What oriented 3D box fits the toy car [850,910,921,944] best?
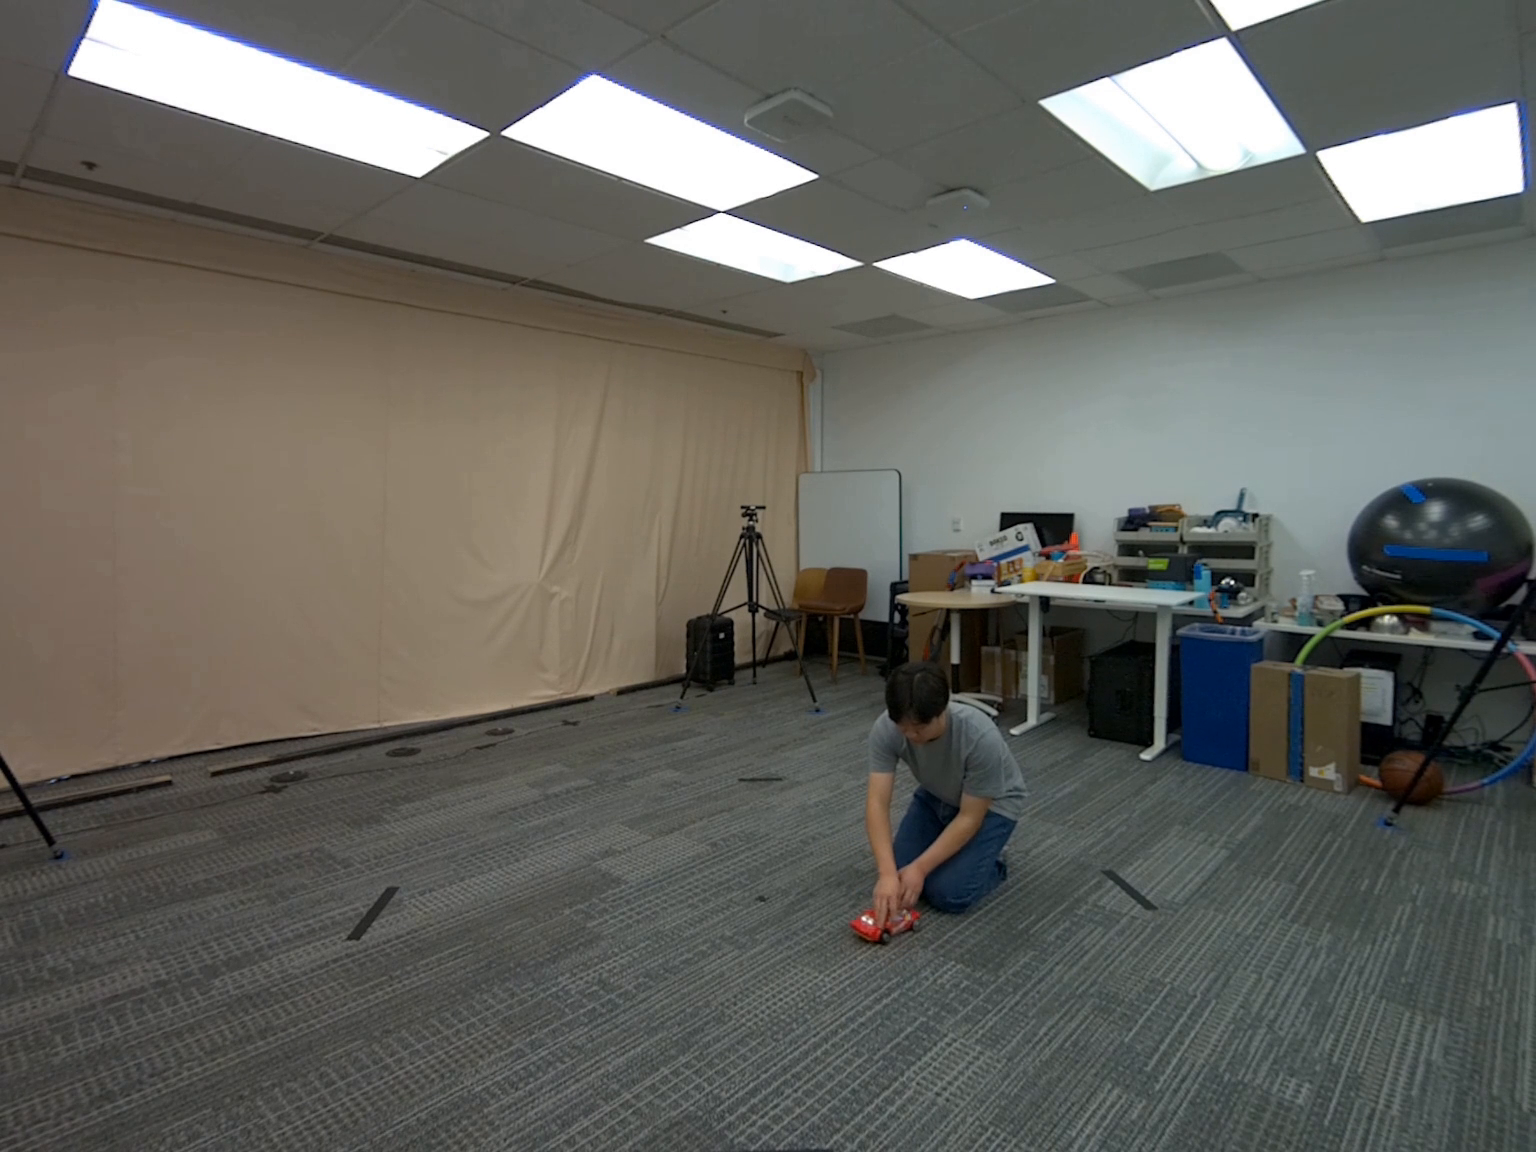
[{"bbox_3d":[0.379,1.132,2.741,0.246,0.083,0.134,11,-1,-33],"label":"toy car"}]
